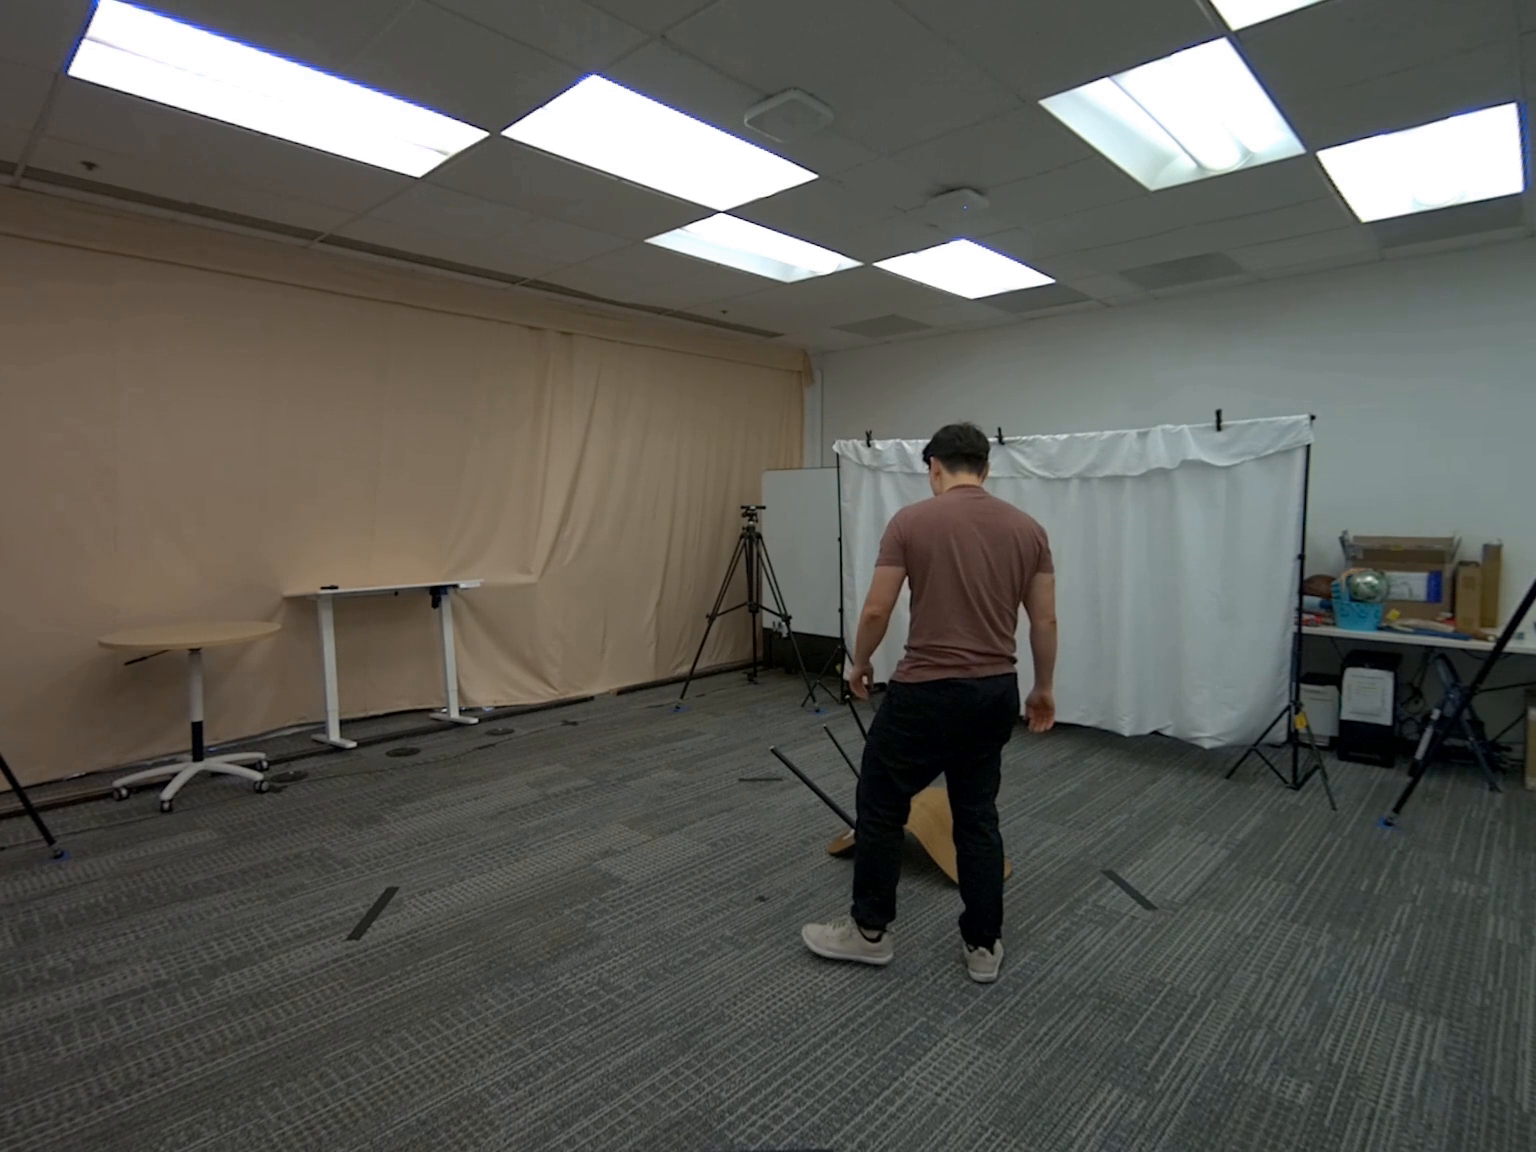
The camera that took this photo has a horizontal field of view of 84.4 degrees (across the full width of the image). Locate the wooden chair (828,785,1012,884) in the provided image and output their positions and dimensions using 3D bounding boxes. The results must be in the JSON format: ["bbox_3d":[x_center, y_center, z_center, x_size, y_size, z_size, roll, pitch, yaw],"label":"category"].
[{"bbox_3d":[0.490,0.934,3.408,0.527,0.896,0.464,-45,-22,28],"label":"wooden chair"}]
